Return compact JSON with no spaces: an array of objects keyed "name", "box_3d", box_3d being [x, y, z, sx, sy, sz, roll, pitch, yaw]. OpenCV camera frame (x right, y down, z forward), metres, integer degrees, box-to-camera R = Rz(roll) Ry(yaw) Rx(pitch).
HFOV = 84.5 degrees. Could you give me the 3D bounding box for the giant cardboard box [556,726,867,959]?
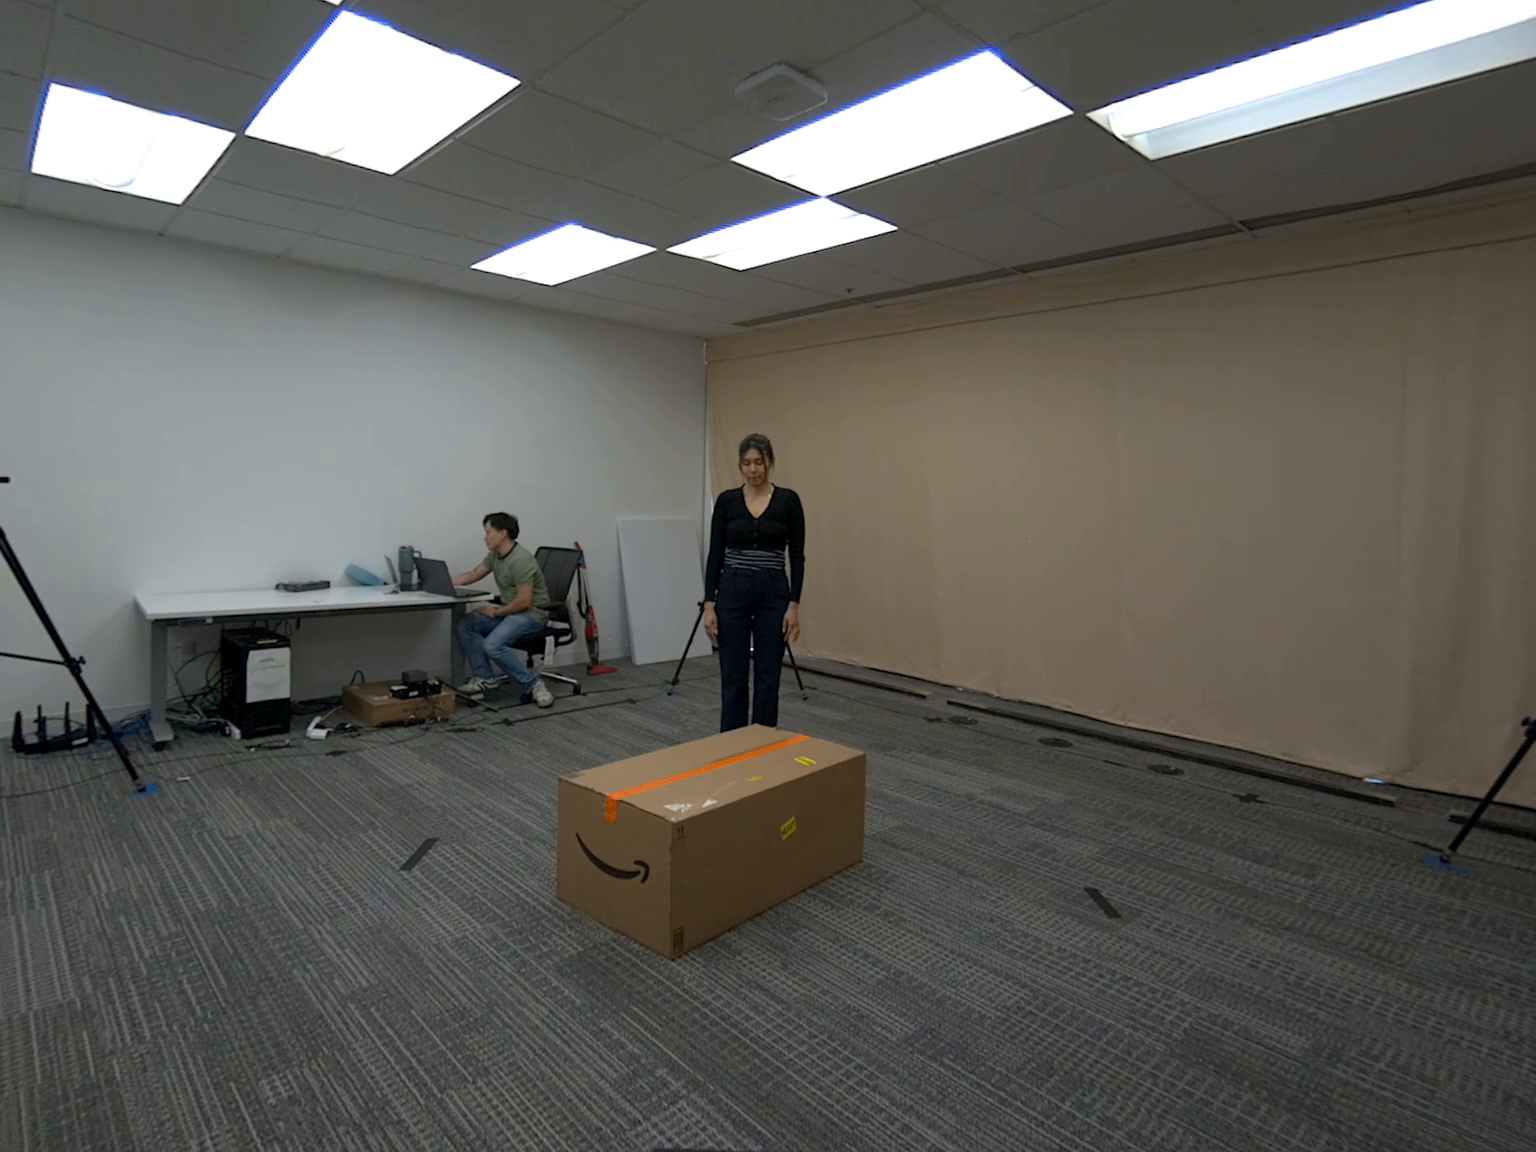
[{"name":"giant cardboard box","box_3d":[-0.180,0.892,3.063,0.592,0.425,1.003,4,5,41]}]
